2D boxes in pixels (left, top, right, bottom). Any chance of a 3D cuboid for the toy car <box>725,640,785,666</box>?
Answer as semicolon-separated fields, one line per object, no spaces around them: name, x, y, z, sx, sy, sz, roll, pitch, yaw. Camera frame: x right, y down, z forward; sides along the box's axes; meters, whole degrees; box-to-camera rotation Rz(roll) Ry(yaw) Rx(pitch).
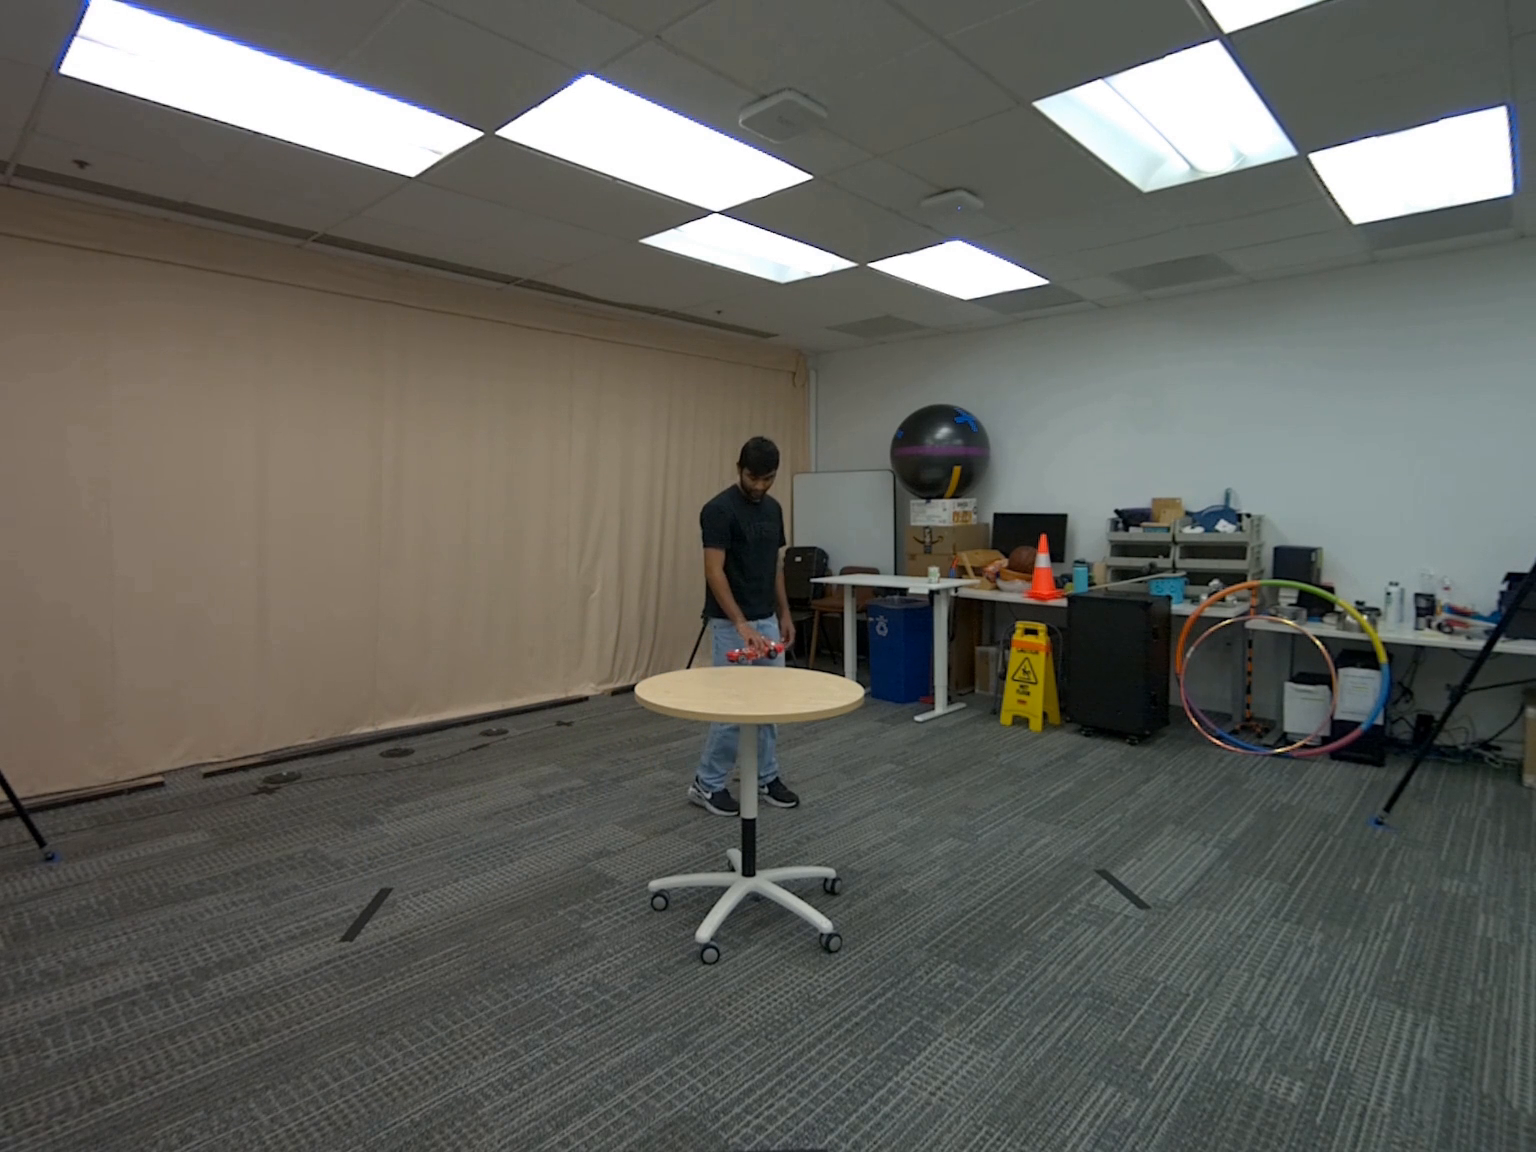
toy car;-0.048;0.332;3.625;0.249;0.083;0.133;-18;6;-26
